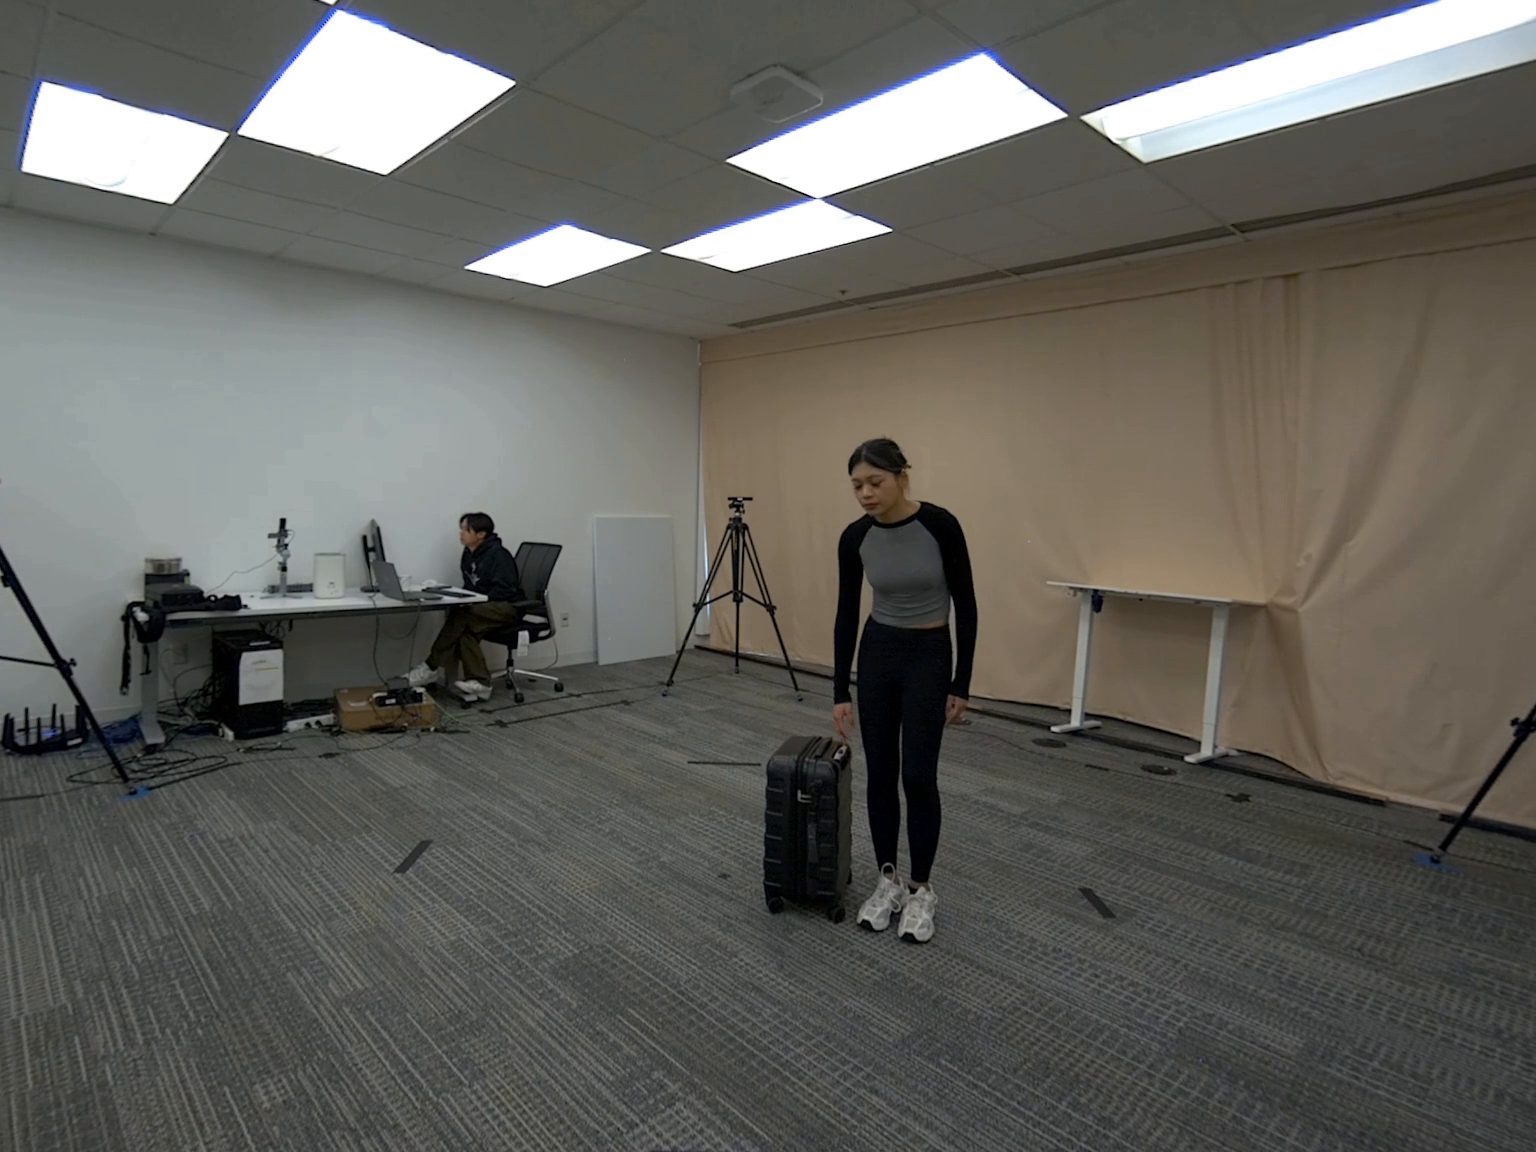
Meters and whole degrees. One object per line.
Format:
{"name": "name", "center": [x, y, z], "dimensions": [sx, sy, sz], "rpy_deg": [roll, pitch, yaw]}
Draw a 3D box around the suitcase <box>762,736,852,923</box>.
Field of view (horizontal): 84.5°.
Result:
{"name": "suitcase", "center": [0.143, 0.851, 2.938], "dimensions": [0.251, 0.547, 0.372], "rpy_deg": [1, 5, 16]}
